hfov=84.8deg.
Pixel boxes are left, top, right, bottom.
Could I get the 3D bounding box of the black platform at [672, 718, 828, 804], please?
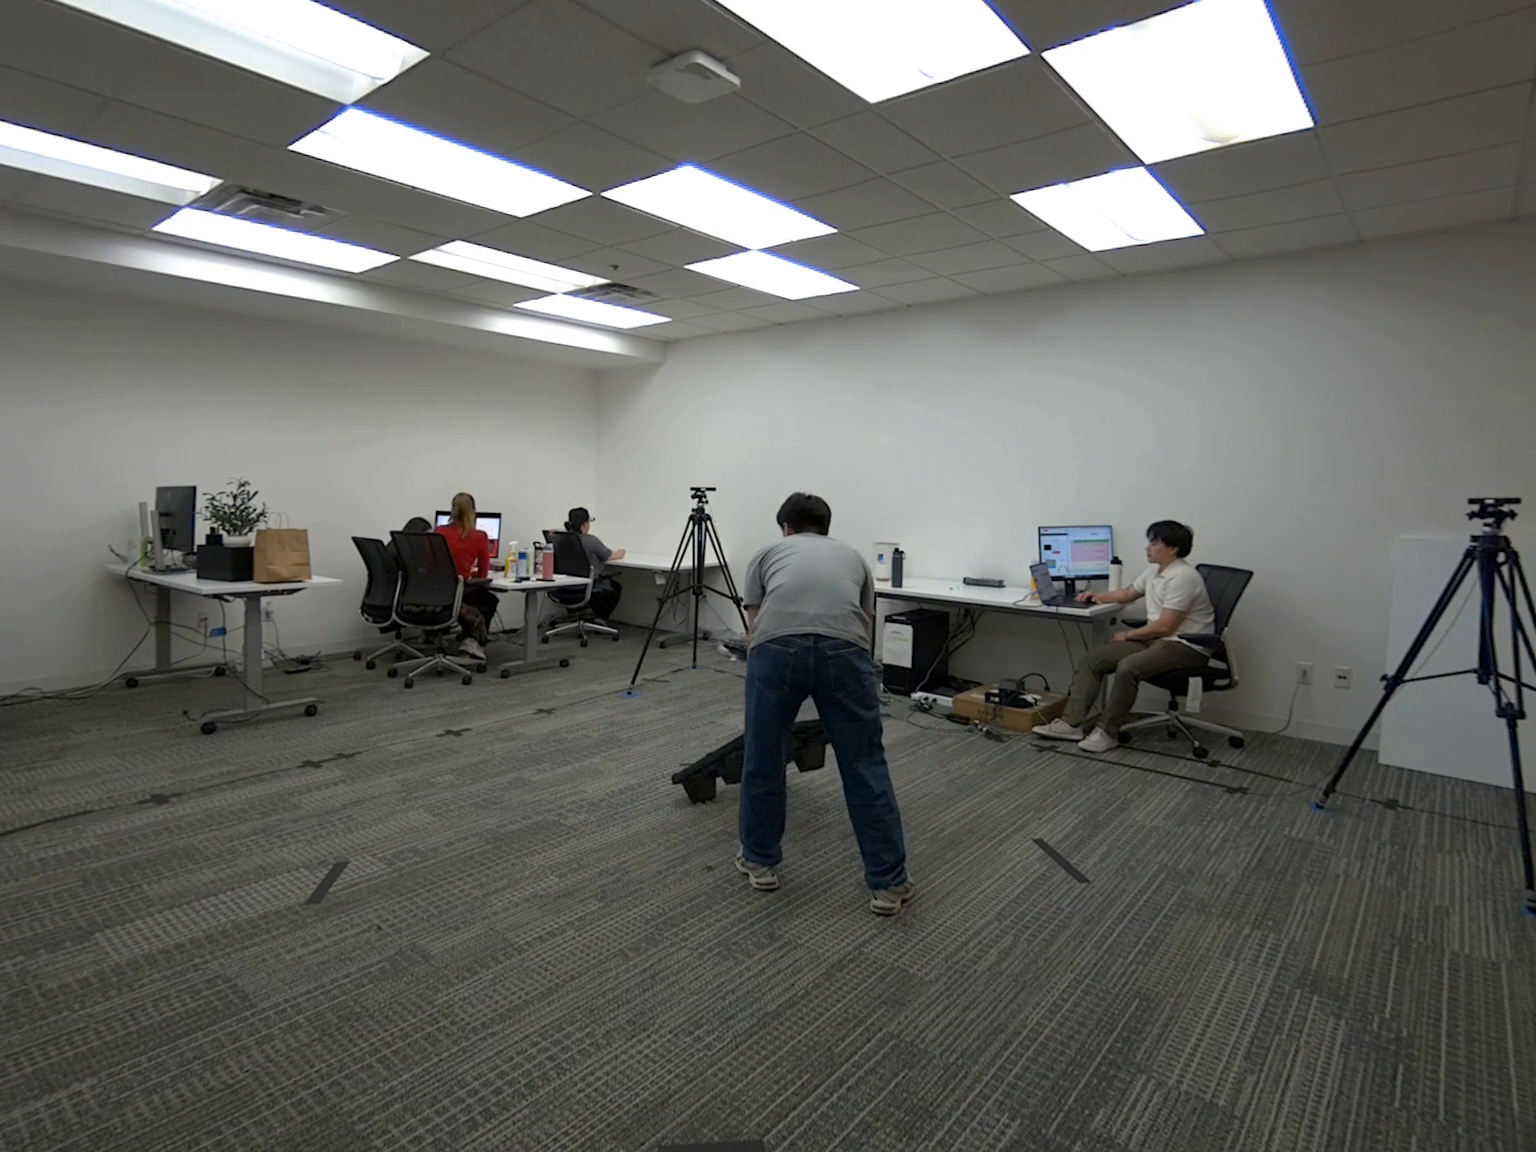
[{"bbox_3d":[0.011,0.779,3.613,0.589,0.147,0.807,-2,-24,-32],"label":"black platform"}]
